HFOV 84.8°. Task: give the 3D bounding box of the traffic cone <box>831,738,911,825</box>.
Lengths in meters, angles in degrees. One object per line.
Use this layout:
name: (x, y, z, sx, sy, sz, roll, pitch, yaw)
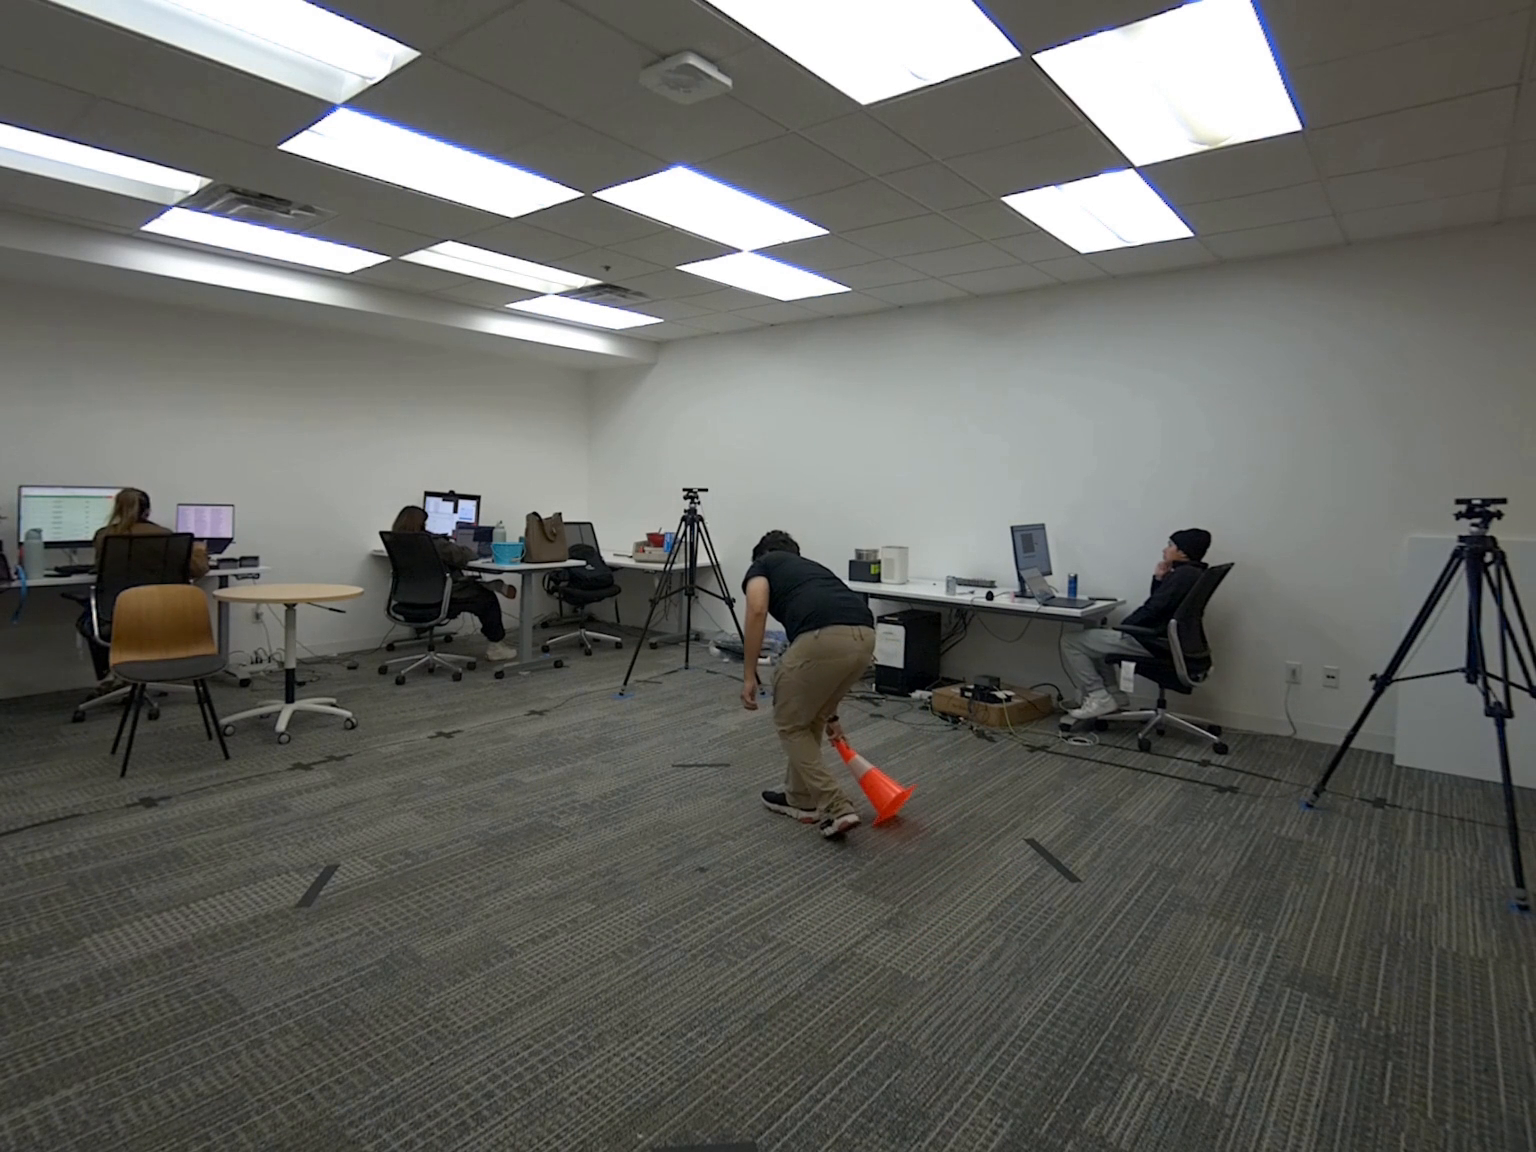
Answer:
traffic cone: (0.409, 0.845, 3.676, 0.197, 0.203, 0.398, -5, 42, -49)
